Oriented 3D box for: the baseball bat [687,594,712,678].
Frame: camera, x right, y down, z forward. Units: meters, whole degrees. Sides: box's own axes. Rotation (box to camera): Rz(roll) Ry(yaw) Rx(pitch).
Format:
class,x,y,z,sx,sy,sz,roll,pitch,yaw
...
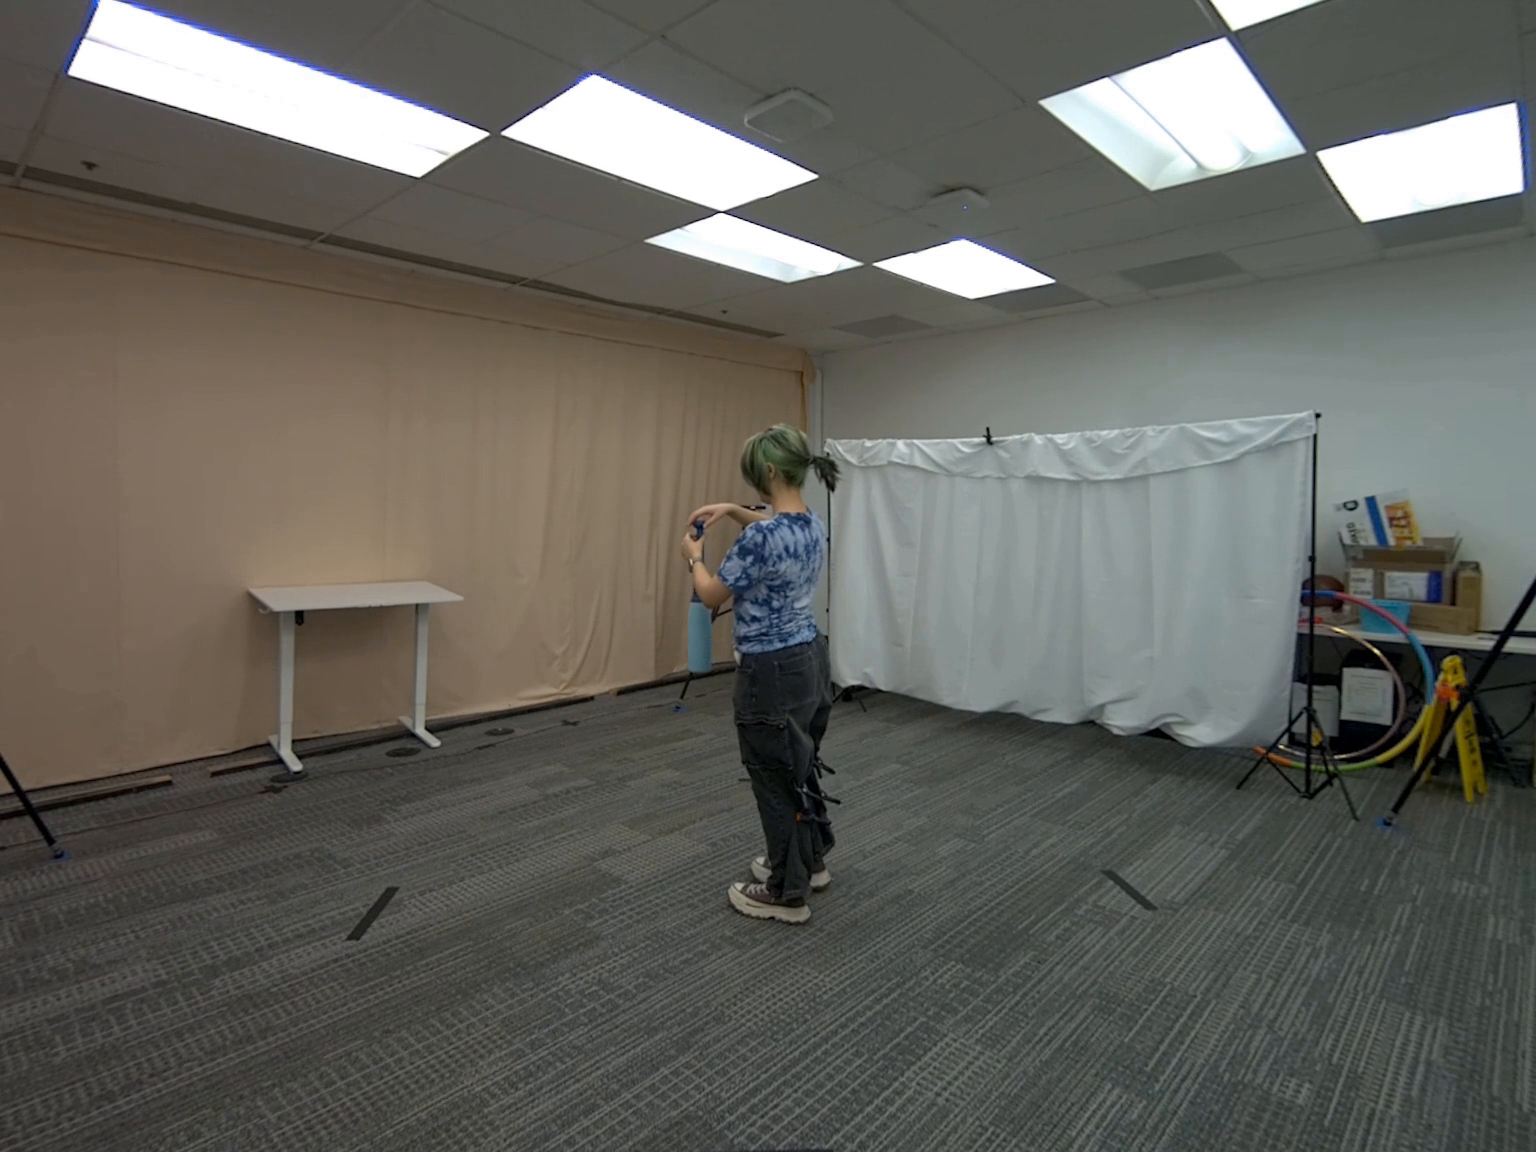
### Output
class,x,y,z,sx,sy,sz,roll,pitch,yaw
baseball bat,-0.239,0.071,3.014,0.089,0.542,0.089,6,4,-2
